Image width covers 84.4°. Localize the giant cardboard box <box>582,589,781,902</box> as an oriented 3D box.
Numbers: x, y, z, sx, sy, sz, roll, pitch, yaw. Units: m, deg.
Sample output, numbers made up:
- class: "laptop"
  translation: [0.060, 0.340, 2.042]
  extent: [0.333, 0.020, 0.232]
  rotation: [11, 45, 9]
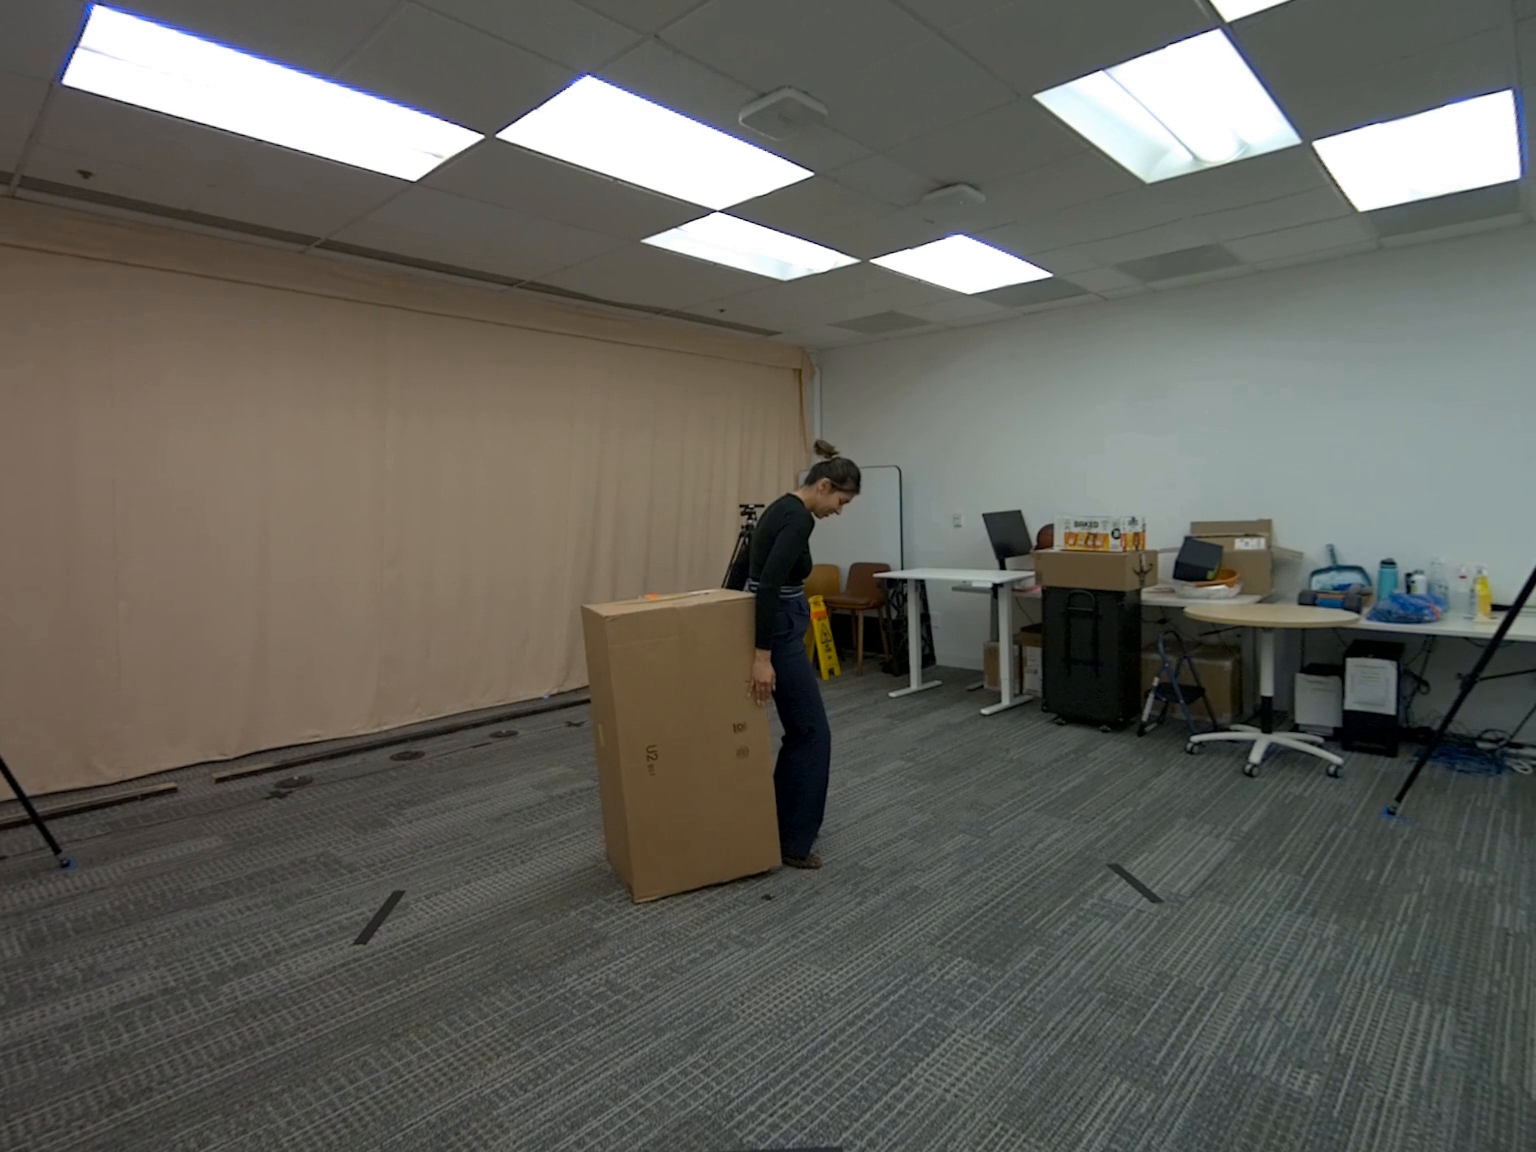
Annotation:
- class: "giant cardboard box"
  translation: [-0.341, 0.602, 3.210]
  extent: [0.566, 1.023, 0.436]
  rotation: [-6, 3, -22]
